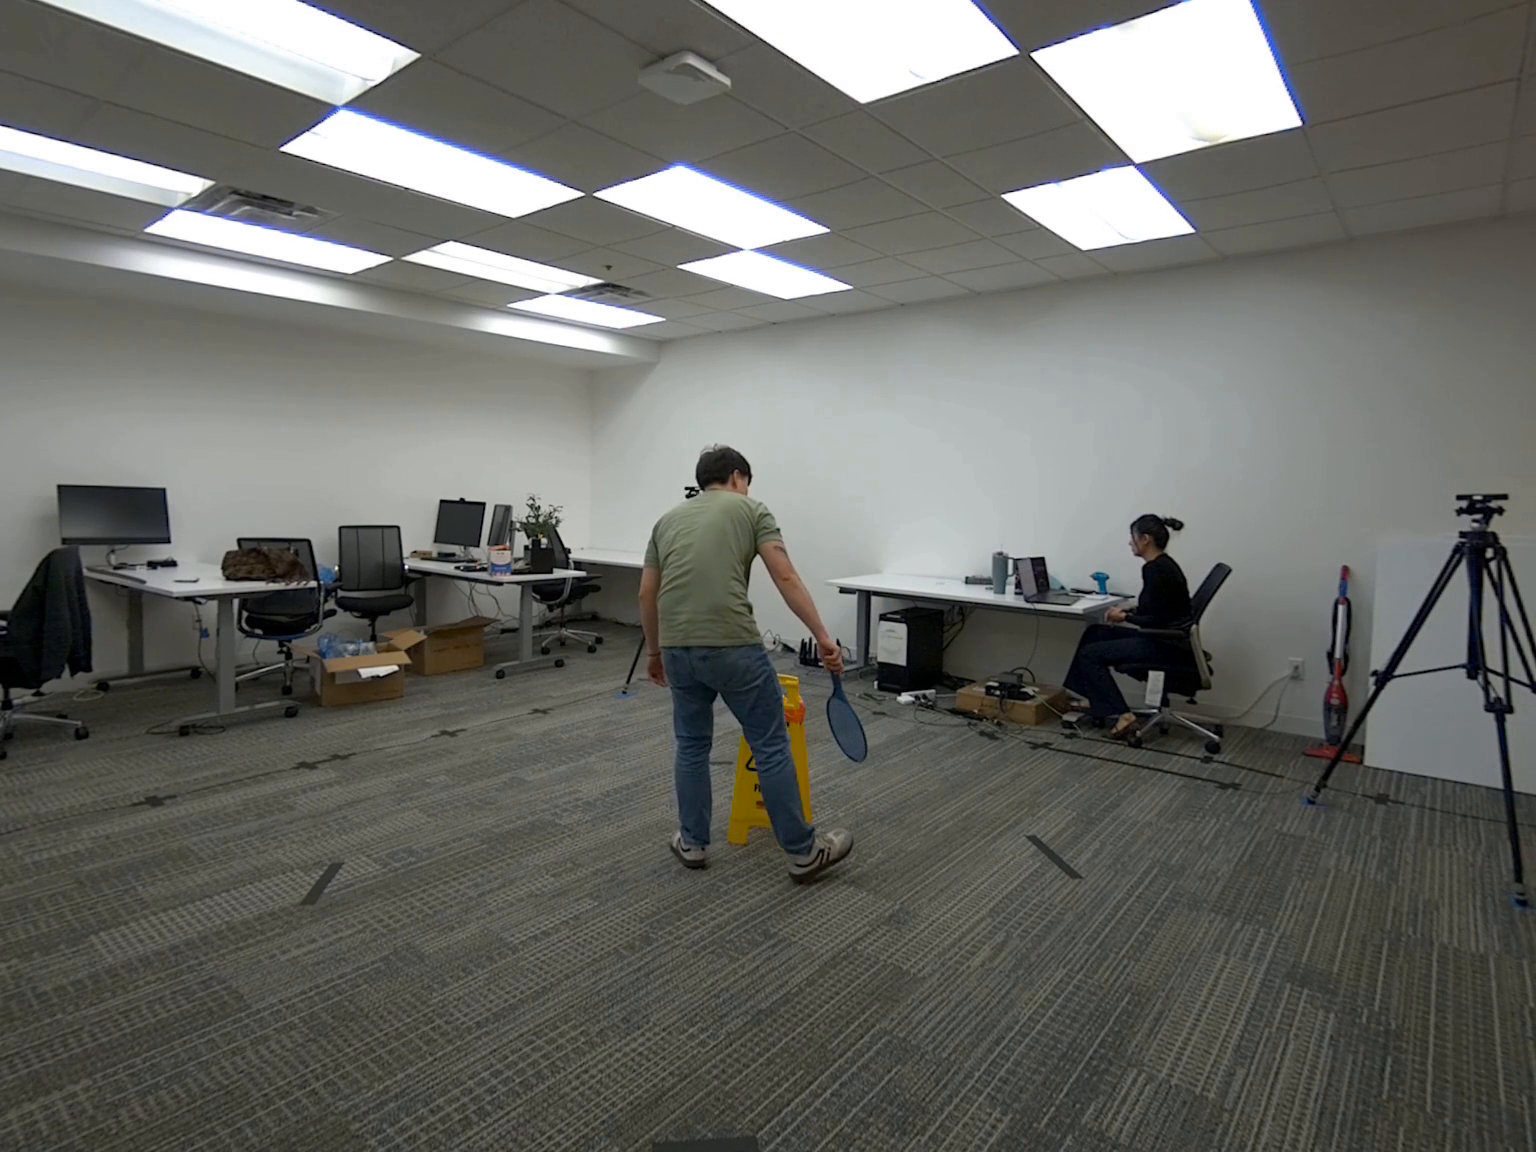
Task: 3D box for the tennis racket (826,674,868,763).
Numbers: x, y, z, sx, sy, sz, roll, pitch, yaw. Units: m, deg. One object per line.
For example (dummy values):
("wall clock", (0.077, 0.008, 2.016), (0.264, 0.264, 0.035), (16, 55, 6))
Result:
("tennis racket", (0.238, 0.483, 3.001), (0.031, 0.424, 0.222), (-20, 23, -31))
